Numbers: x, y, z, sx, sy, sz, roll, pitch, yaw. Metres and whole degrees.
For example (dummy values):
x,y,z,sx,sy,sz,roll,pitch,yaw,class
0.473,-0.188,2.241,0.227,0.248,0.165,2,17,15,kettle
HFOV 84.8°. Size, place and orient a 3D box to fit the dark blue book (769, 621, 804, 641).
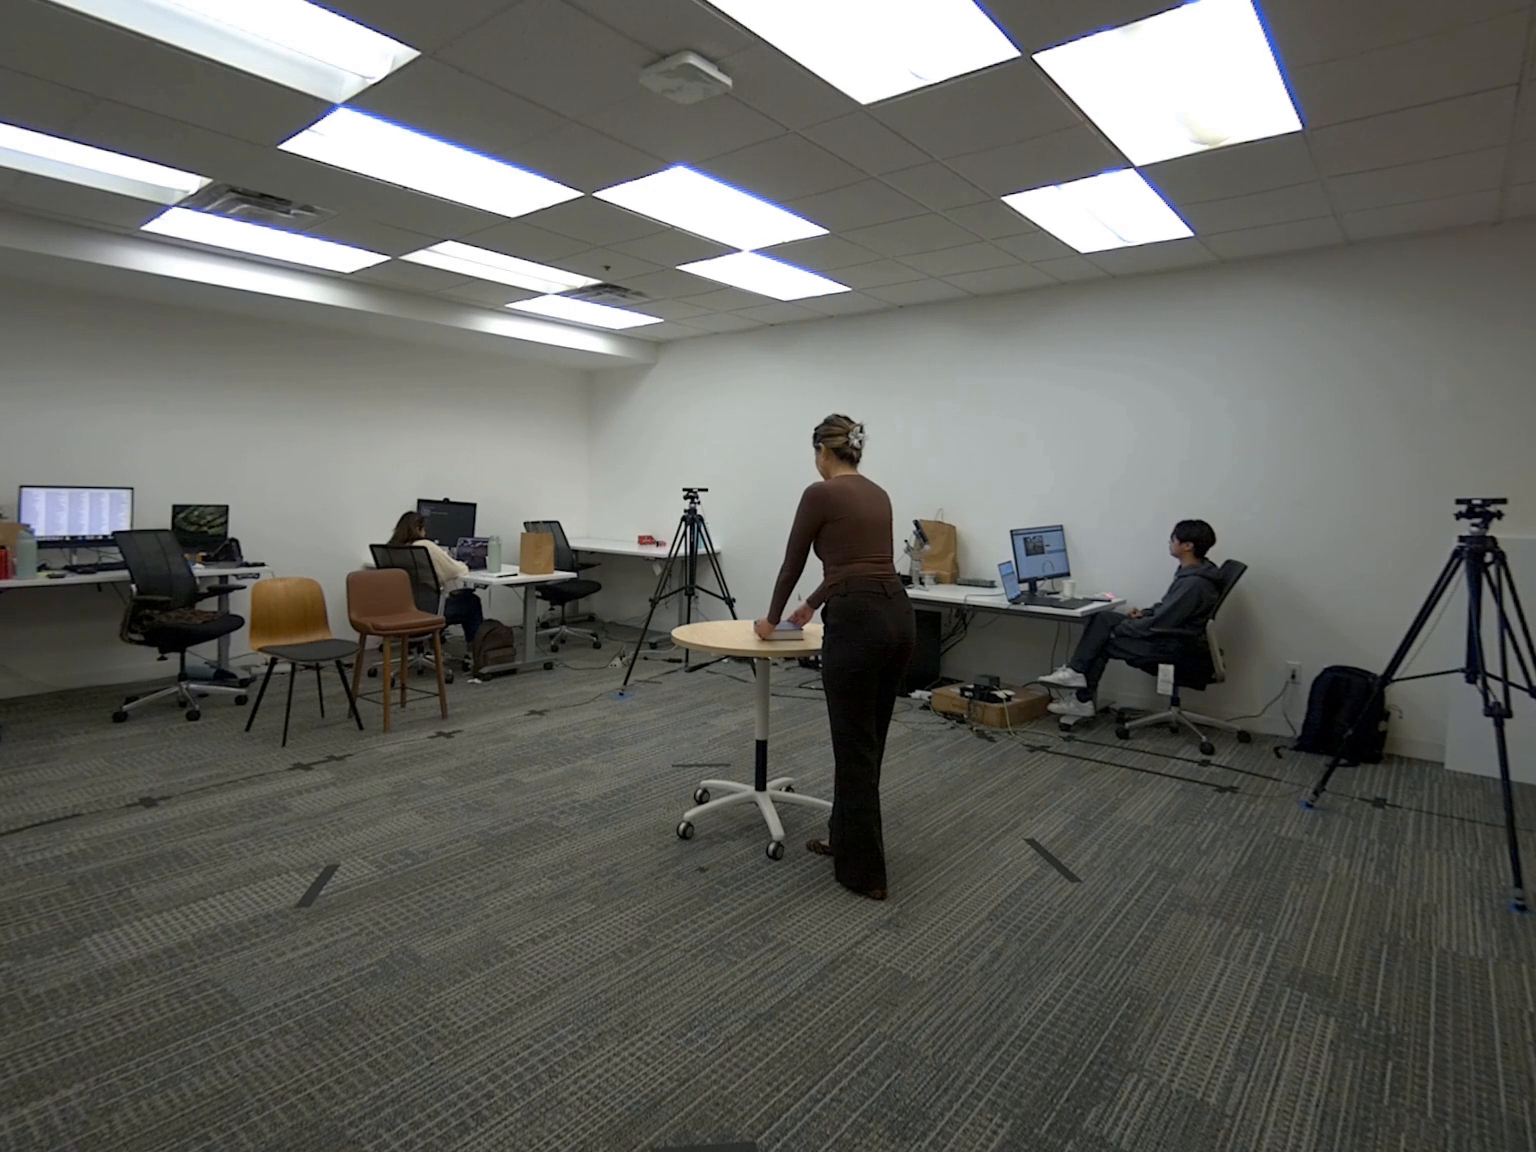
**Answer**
x,y,z,sx,sy,sz,roll,pitch,yaw,class
0.027,0.221,3.486,0.162,0.045,0.248,0,6,-8,dark blue book
